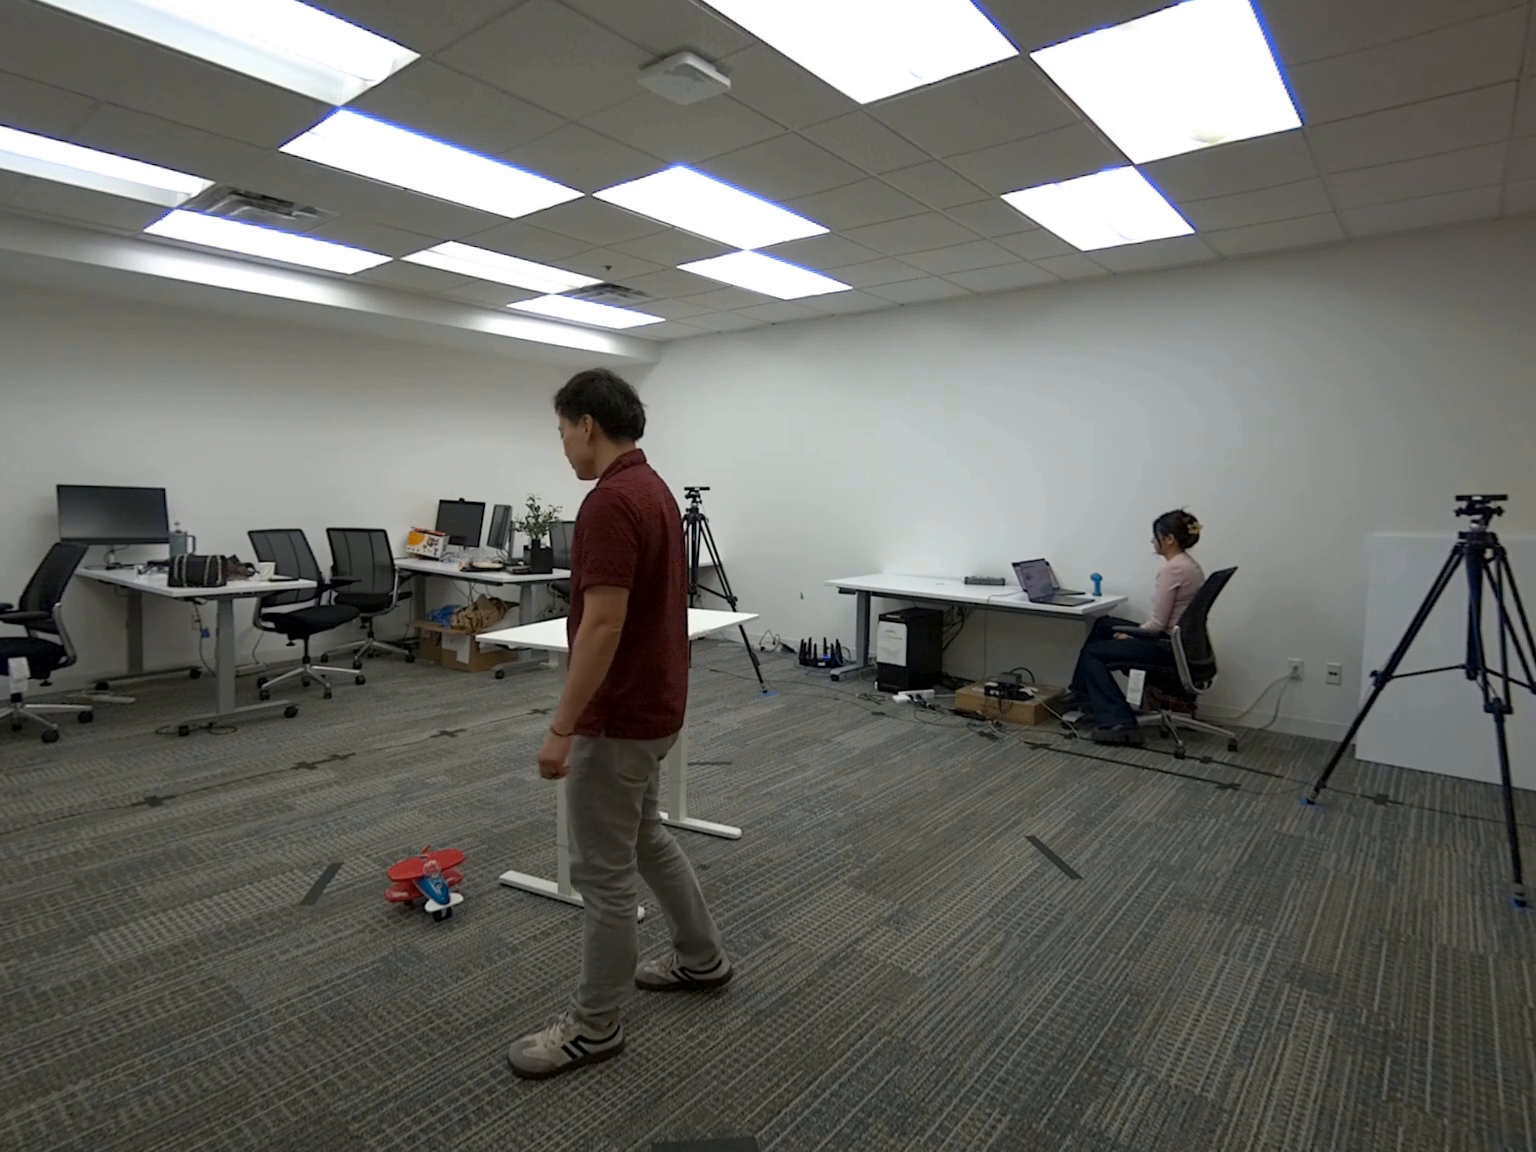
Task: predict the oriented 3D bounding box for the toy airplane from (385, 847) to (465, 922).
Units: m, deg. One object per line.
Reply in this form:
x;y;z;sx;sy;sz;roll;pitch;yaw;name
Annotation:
-1.114;1.016;2.797;0.264;0.156;0.247;1;5;18;toy airplane
